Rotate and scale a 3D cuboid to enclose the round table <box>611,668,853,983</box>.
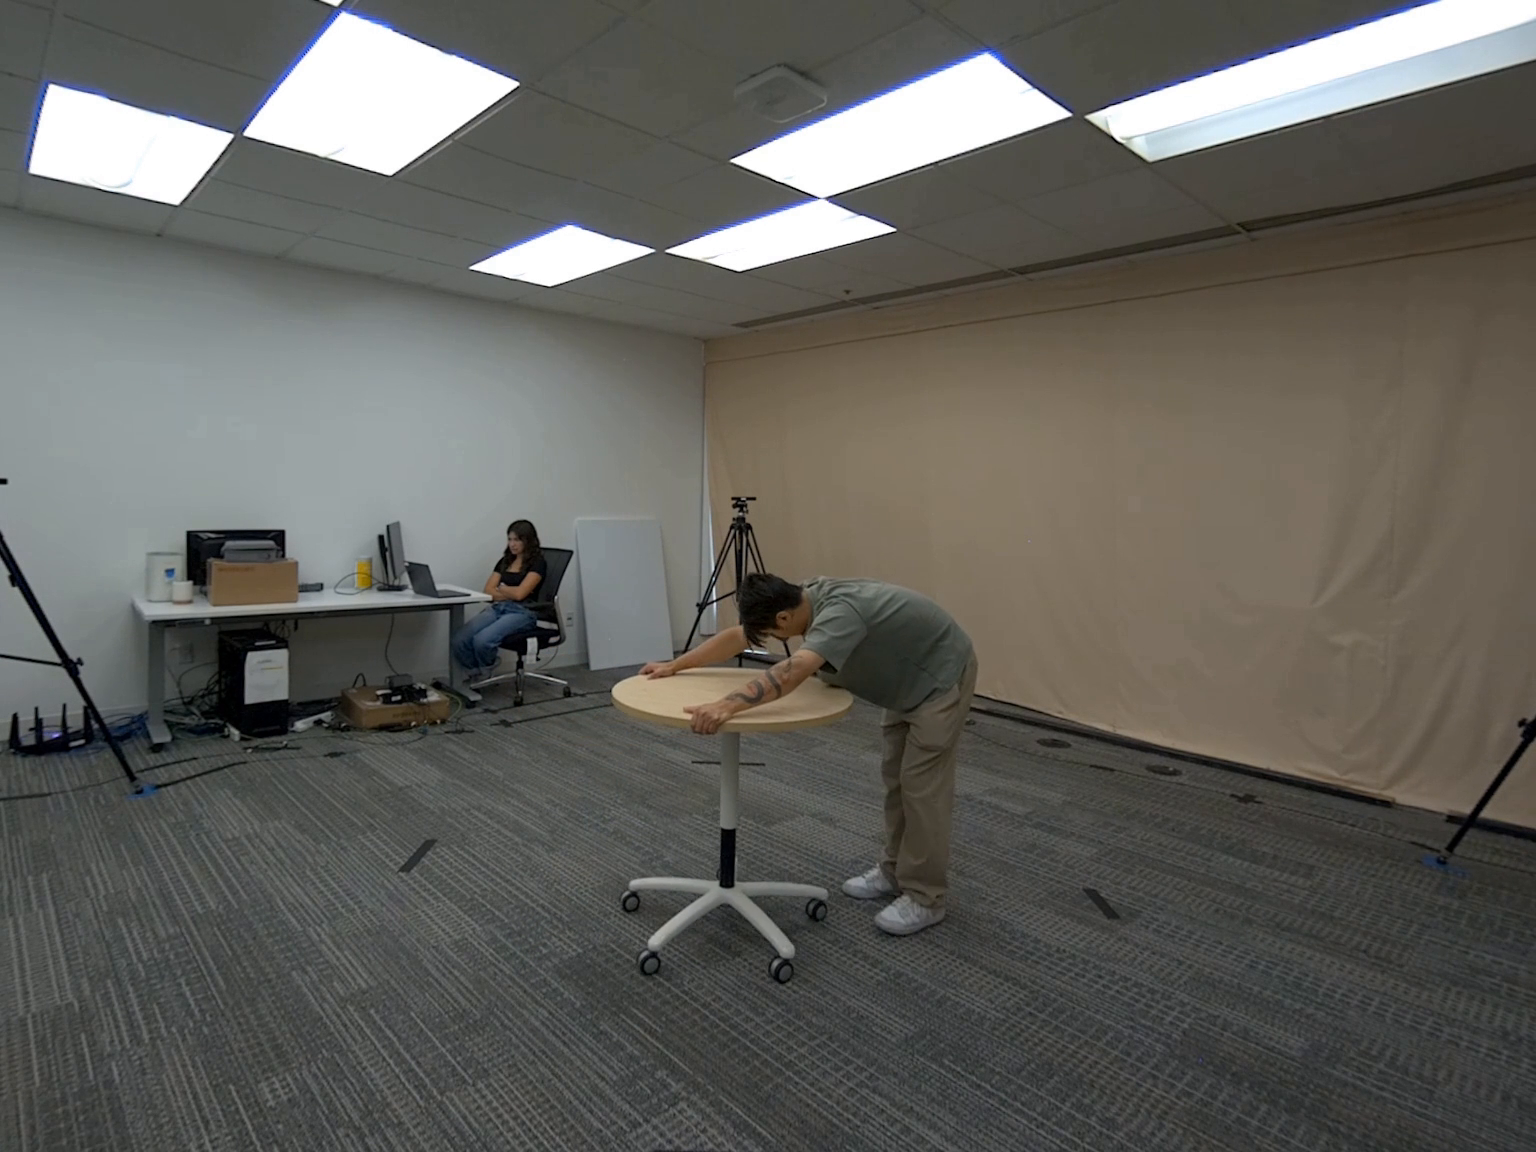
[{"bbox_3d":[-0.133,0.761,2.687,0.784,0.785,0.787,1,3,-1],"label":"round table"}]
